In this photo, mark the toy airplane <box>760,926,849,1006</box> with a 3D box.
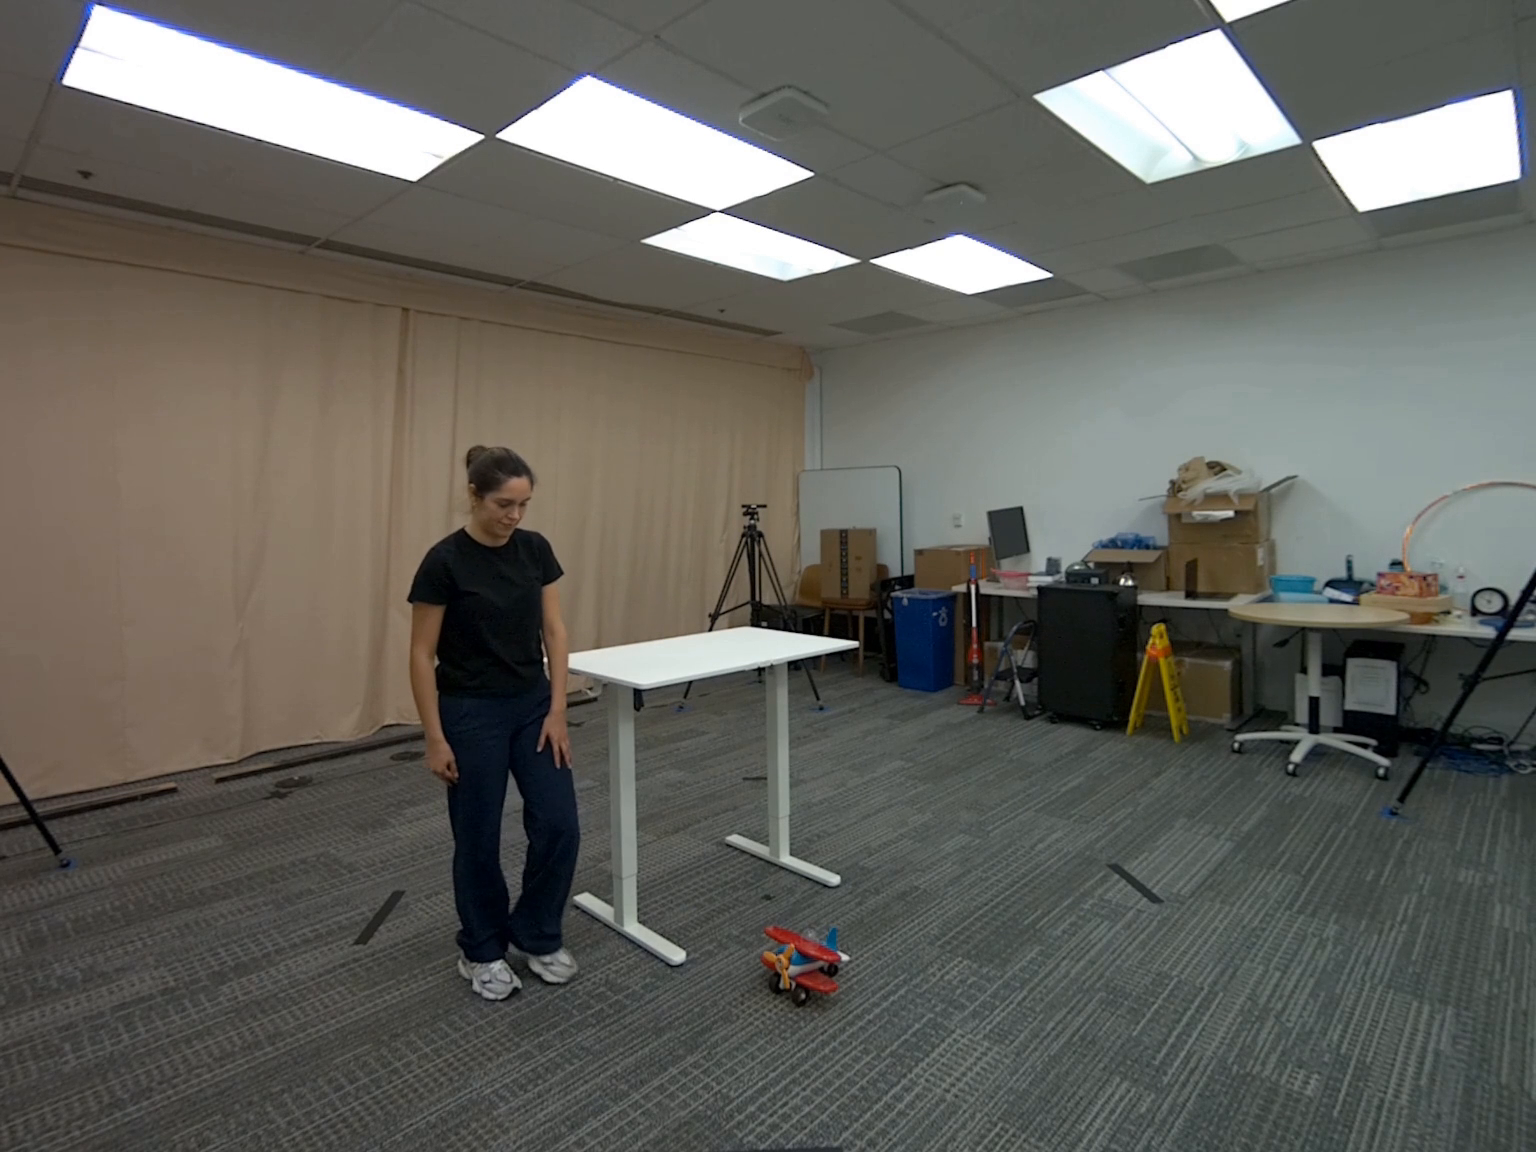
[{"bbox_3d":[0.120,1.109,2.436,0.255,0.156,0.255,0,5,16],"label":"toy airplane"}]
